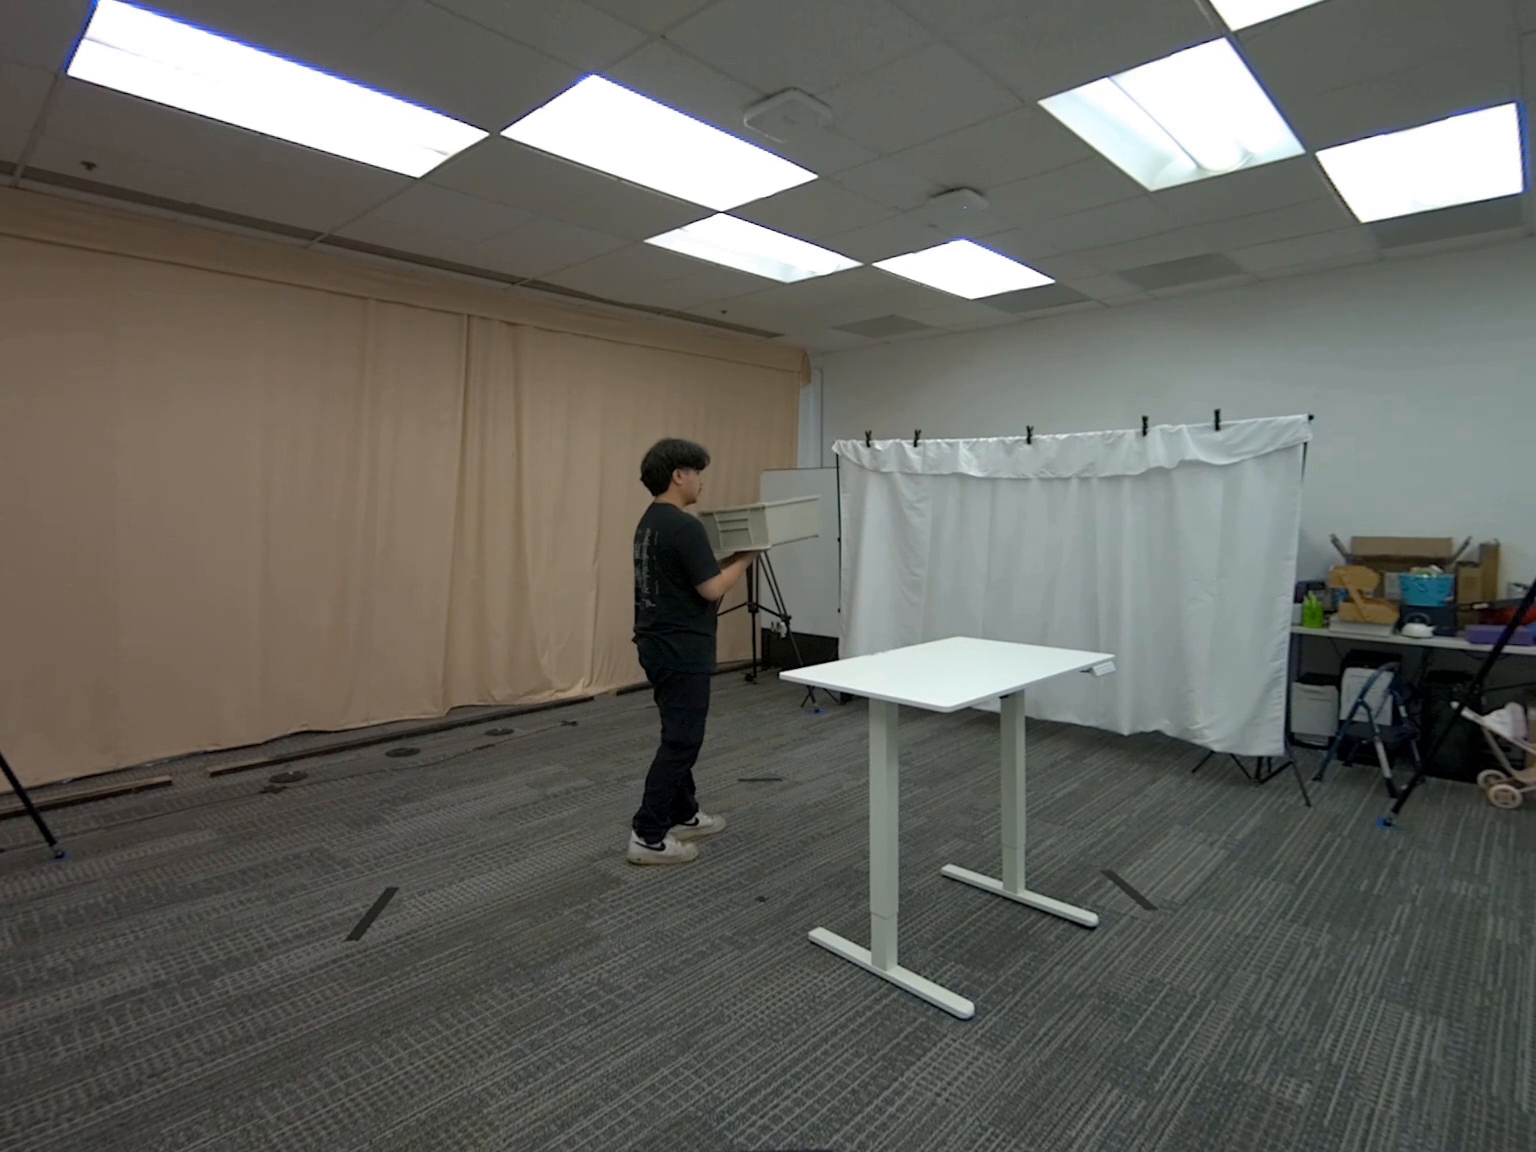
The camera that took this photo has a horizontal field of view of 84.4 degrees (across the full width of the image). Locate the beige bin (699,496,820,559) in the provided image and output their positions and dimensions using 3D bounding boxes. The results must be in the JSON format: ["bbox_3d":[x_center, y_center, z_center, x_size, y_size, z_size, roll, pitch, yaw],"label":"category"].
[{"bbox_3d":[-0.032,-0.214,3.574,0.389,0.188,0.411,-2,6,37],"label":"beige bin"}]
